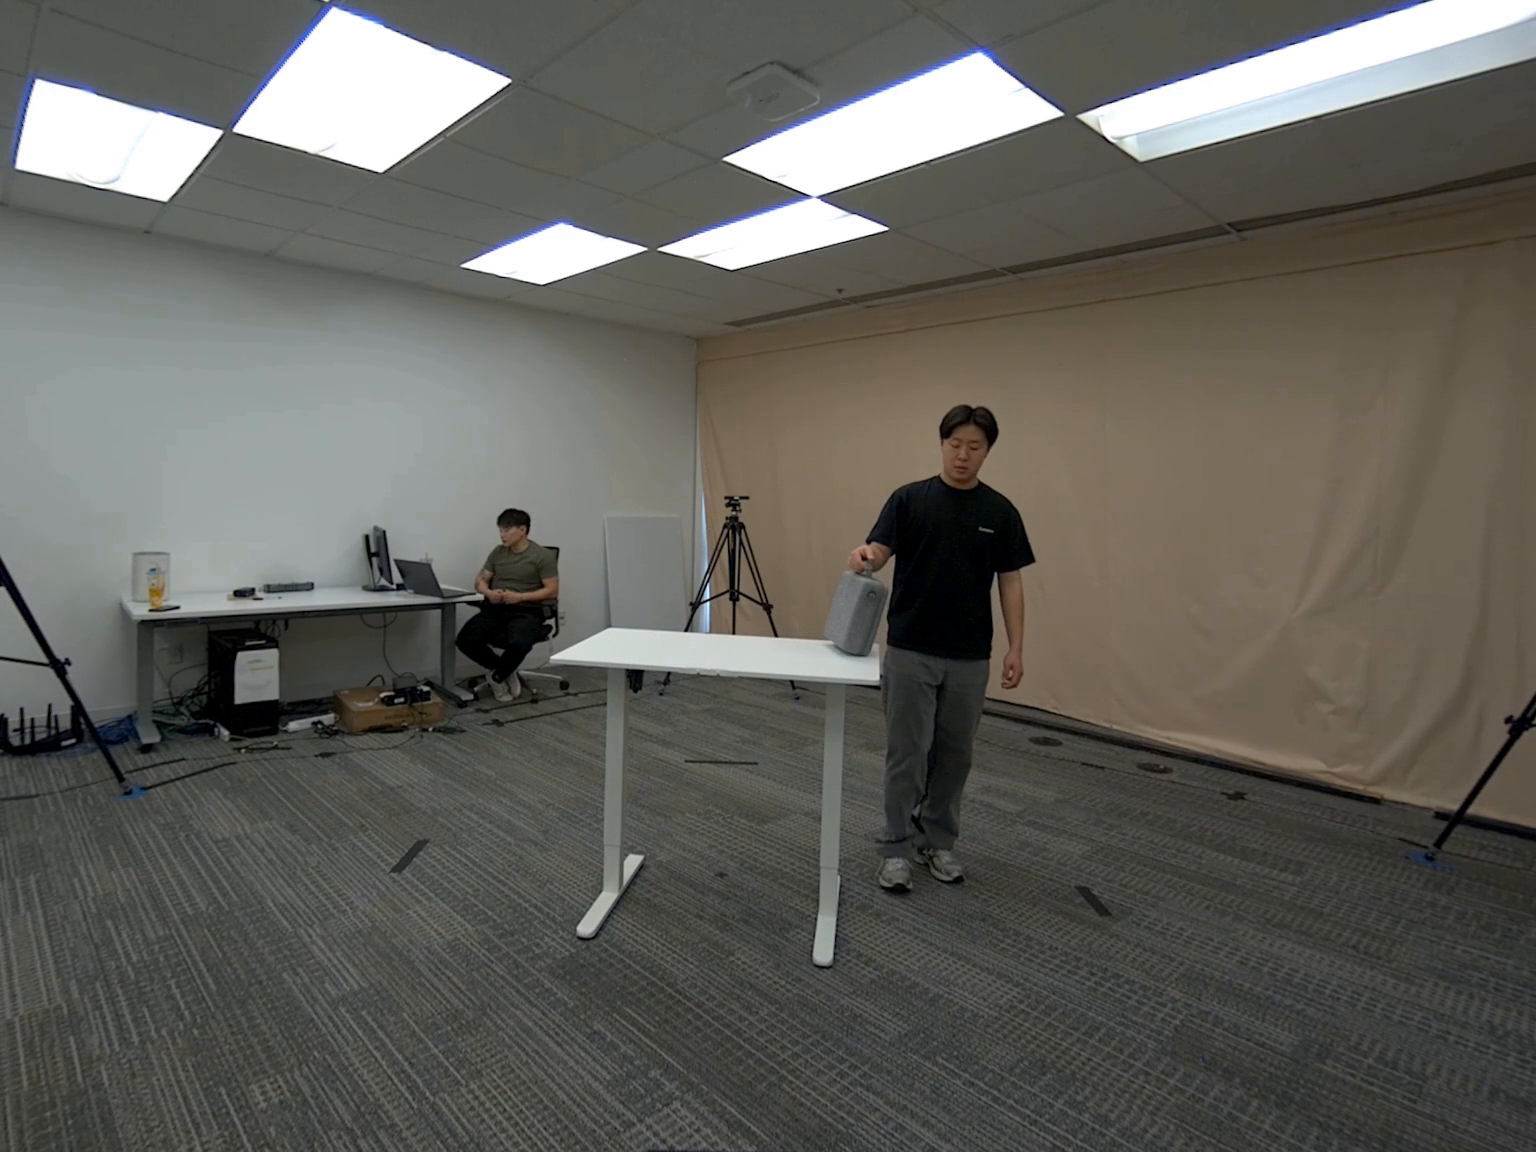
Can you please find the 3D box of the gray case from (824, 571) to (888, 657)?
[{"bbox_3d":[0.289,0.110,2.855,0.102,0.286,0.267,10,5,-14],"label":"gray case"}]
